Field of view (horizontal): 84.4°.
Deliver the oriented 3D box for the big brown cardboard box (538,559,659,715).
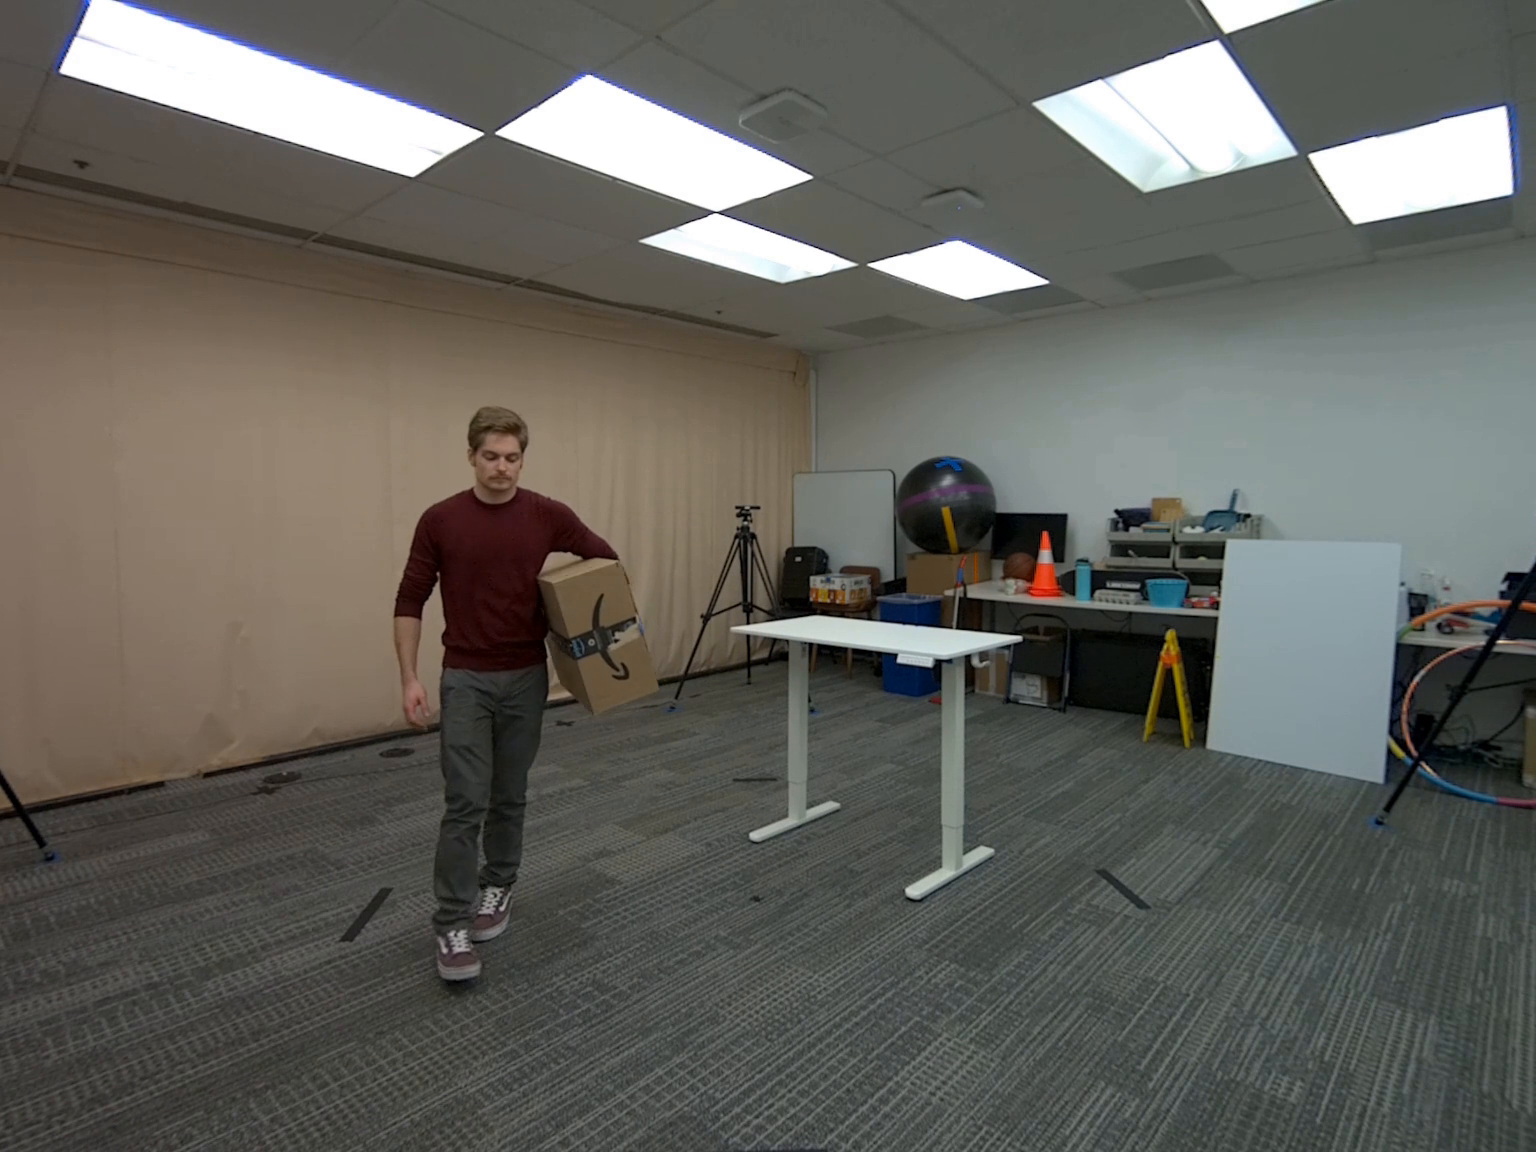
[{"bbox_3d":[-0.591,0.170,2.752,0.229,0.415,0.602,-17,9,-20],"label":"big brown cardboard box"}]
